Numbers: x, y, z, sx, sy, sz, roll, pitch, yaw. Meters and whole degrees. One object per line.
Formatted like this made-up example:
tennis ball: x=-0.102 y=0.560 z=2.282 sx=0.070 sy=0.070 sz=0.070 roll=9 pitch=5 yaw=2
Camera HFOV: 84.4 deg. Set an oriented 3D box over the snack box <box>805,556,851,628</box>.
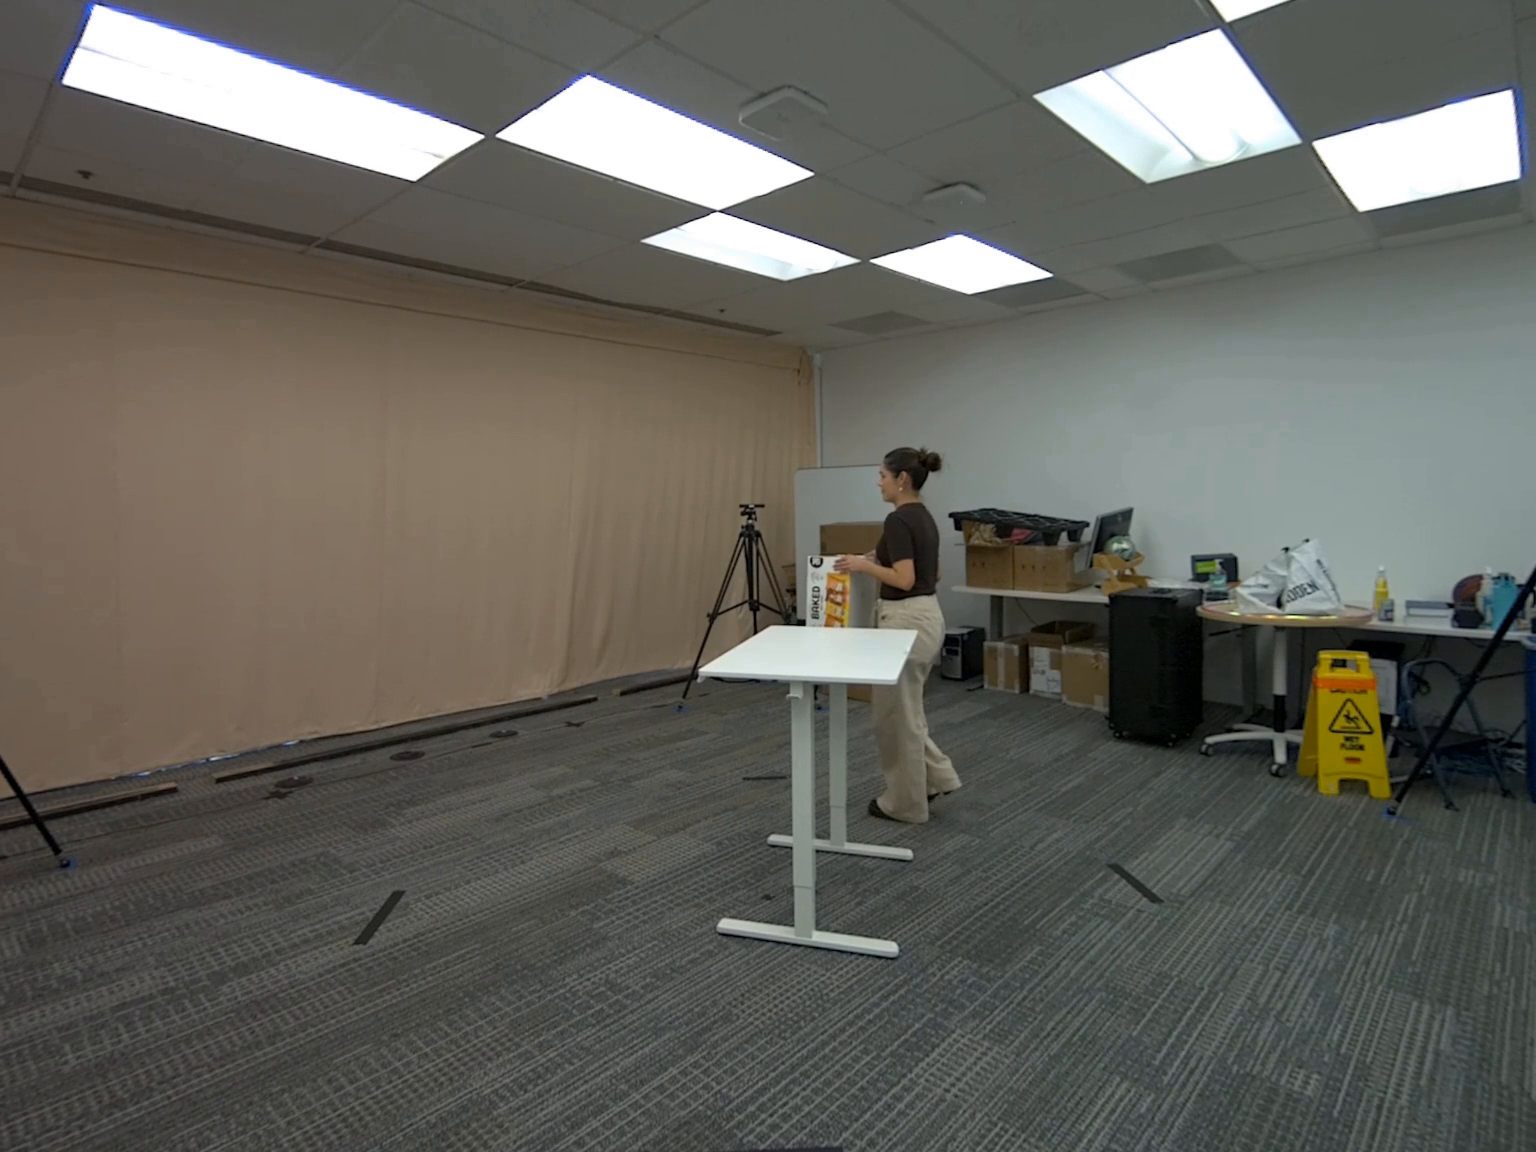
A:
snack box: x=0.348 y=0.117 z=3.862 sx=0.212 sy=0.405 sz=0.331 roll=3 pitch=2 yaw=29
